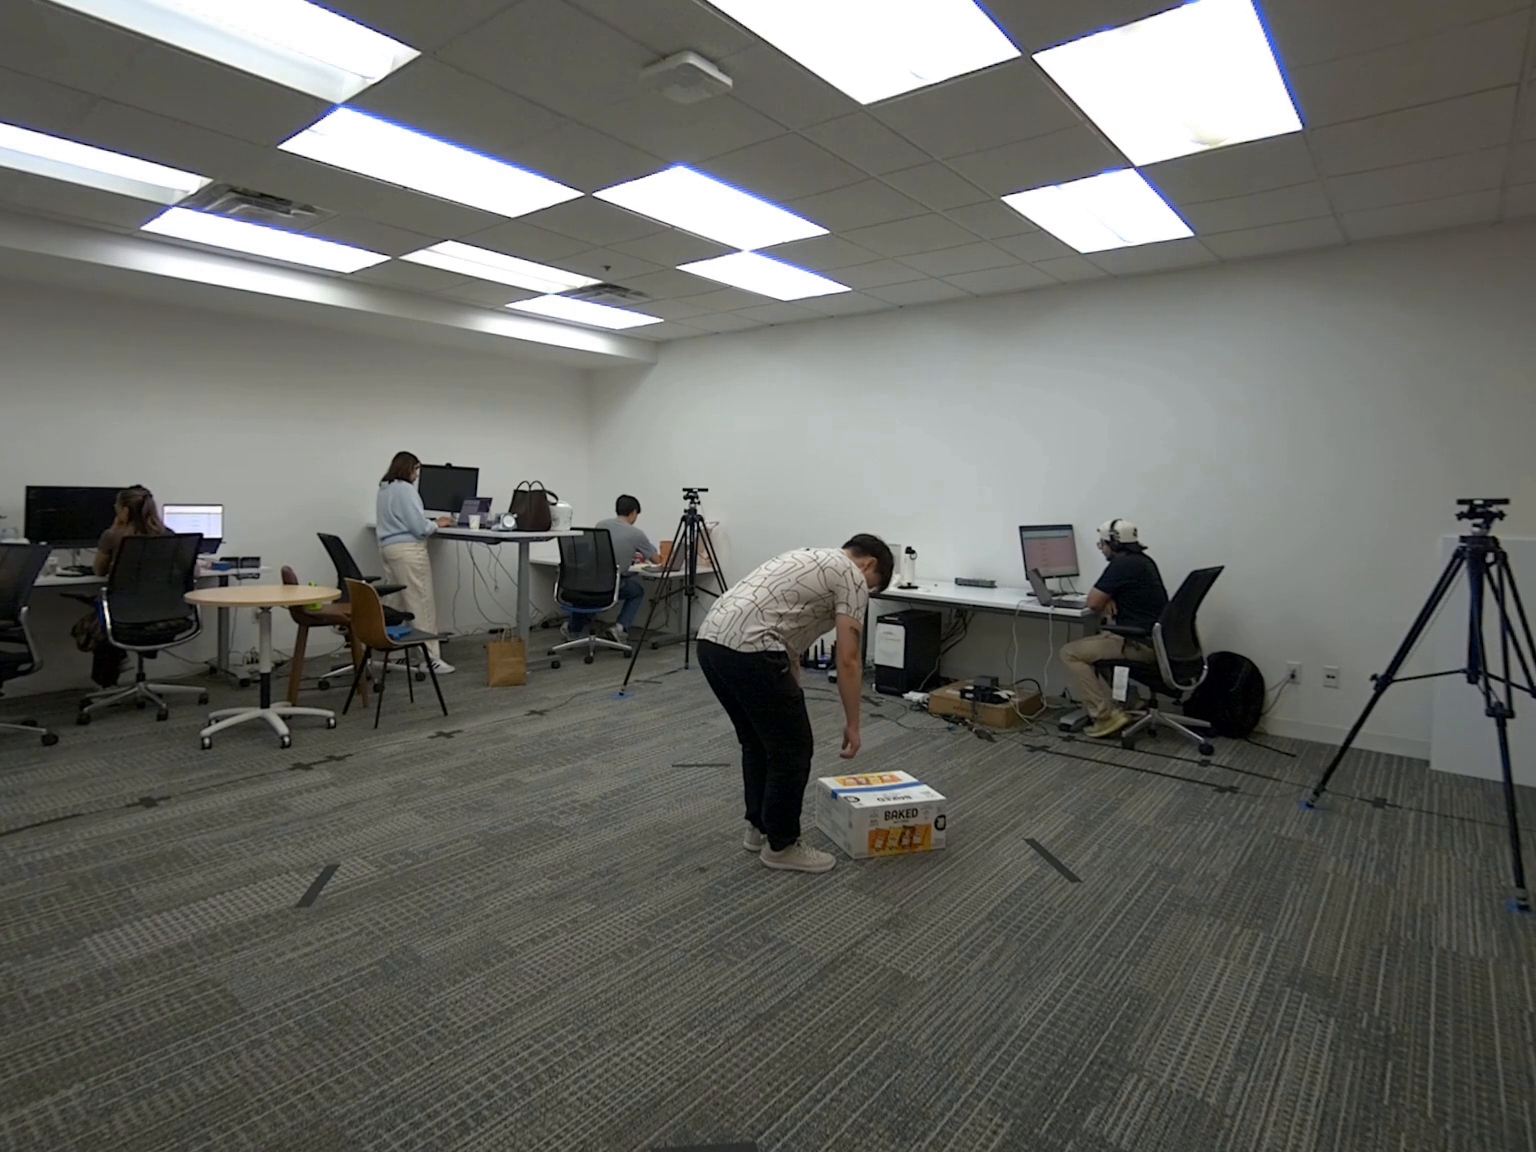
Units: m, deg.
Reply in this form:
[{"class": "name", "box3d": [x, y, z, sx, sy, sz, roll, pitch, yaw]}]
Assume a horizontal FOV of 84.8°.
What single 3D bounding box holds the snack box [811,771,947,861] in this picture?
[{"class": "snack box", "box3d": [0.445, 0.950, 3.429, 0.397, 0.205, 0.348, -1, 5, -20]}]
